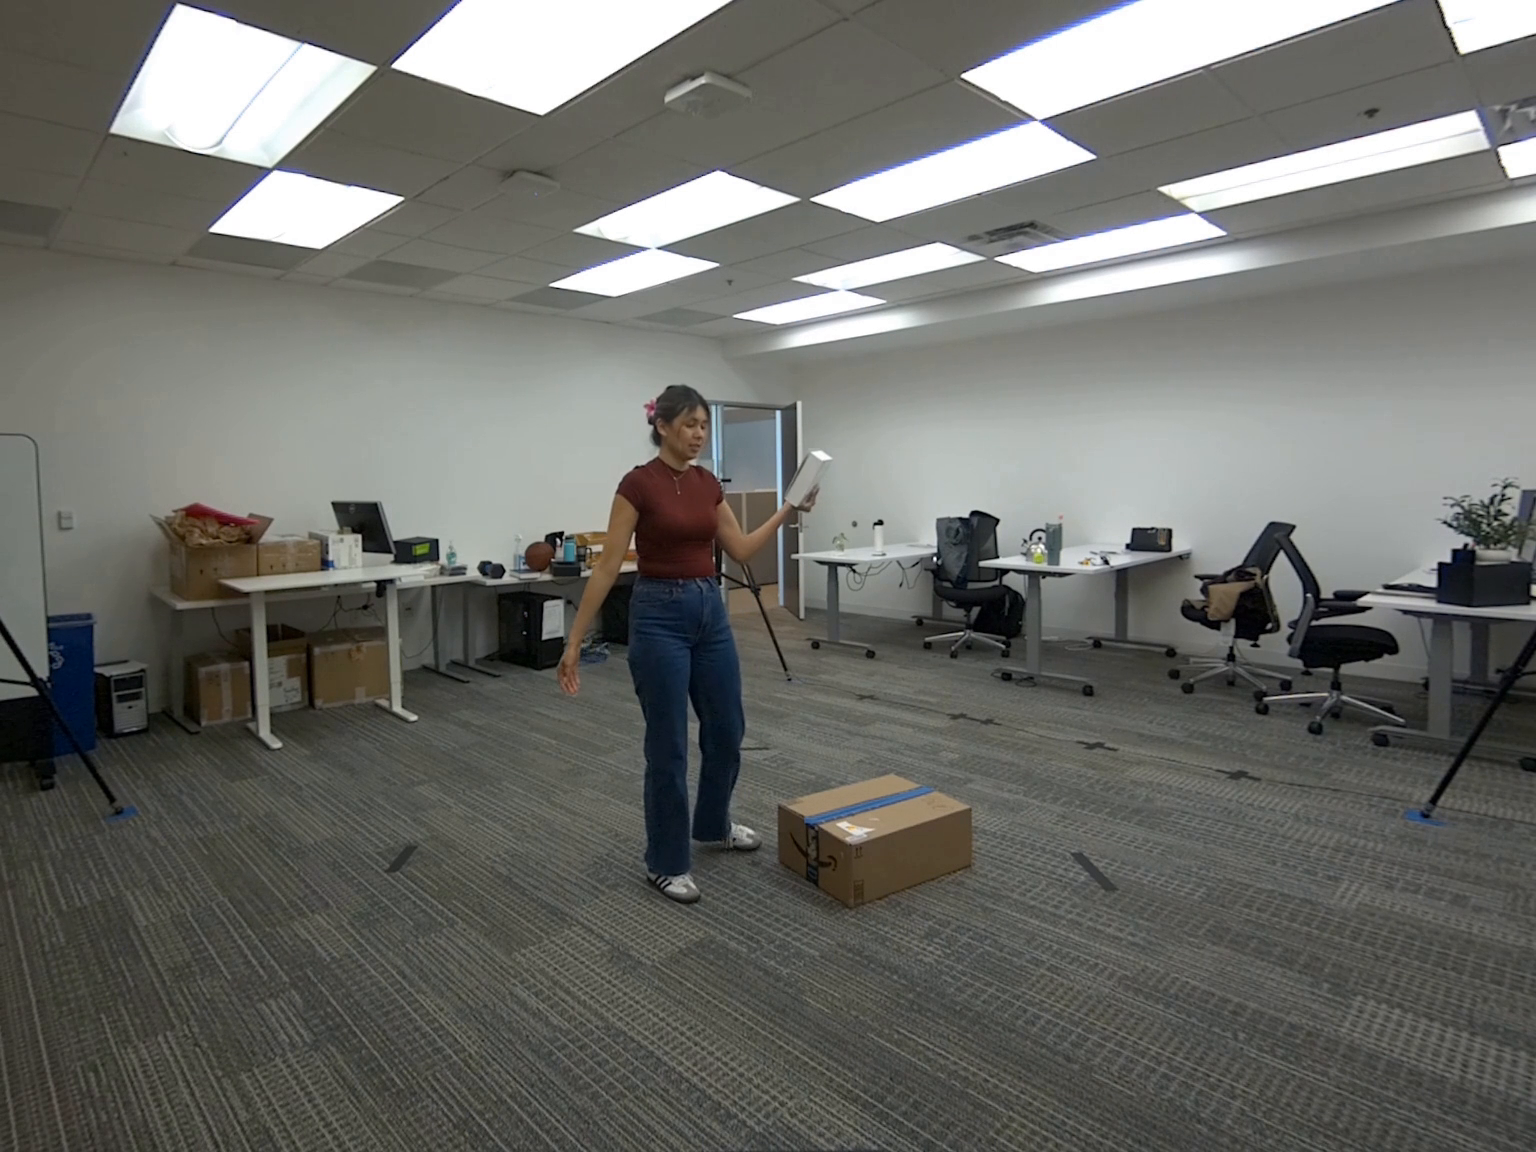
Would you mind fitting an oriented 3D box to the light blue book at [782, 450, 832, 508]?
[{"bbox_3d":[0.151,-0.347,3.004,0.060,0.190,0.259,29,13,7],"label":"light blue book"}]
